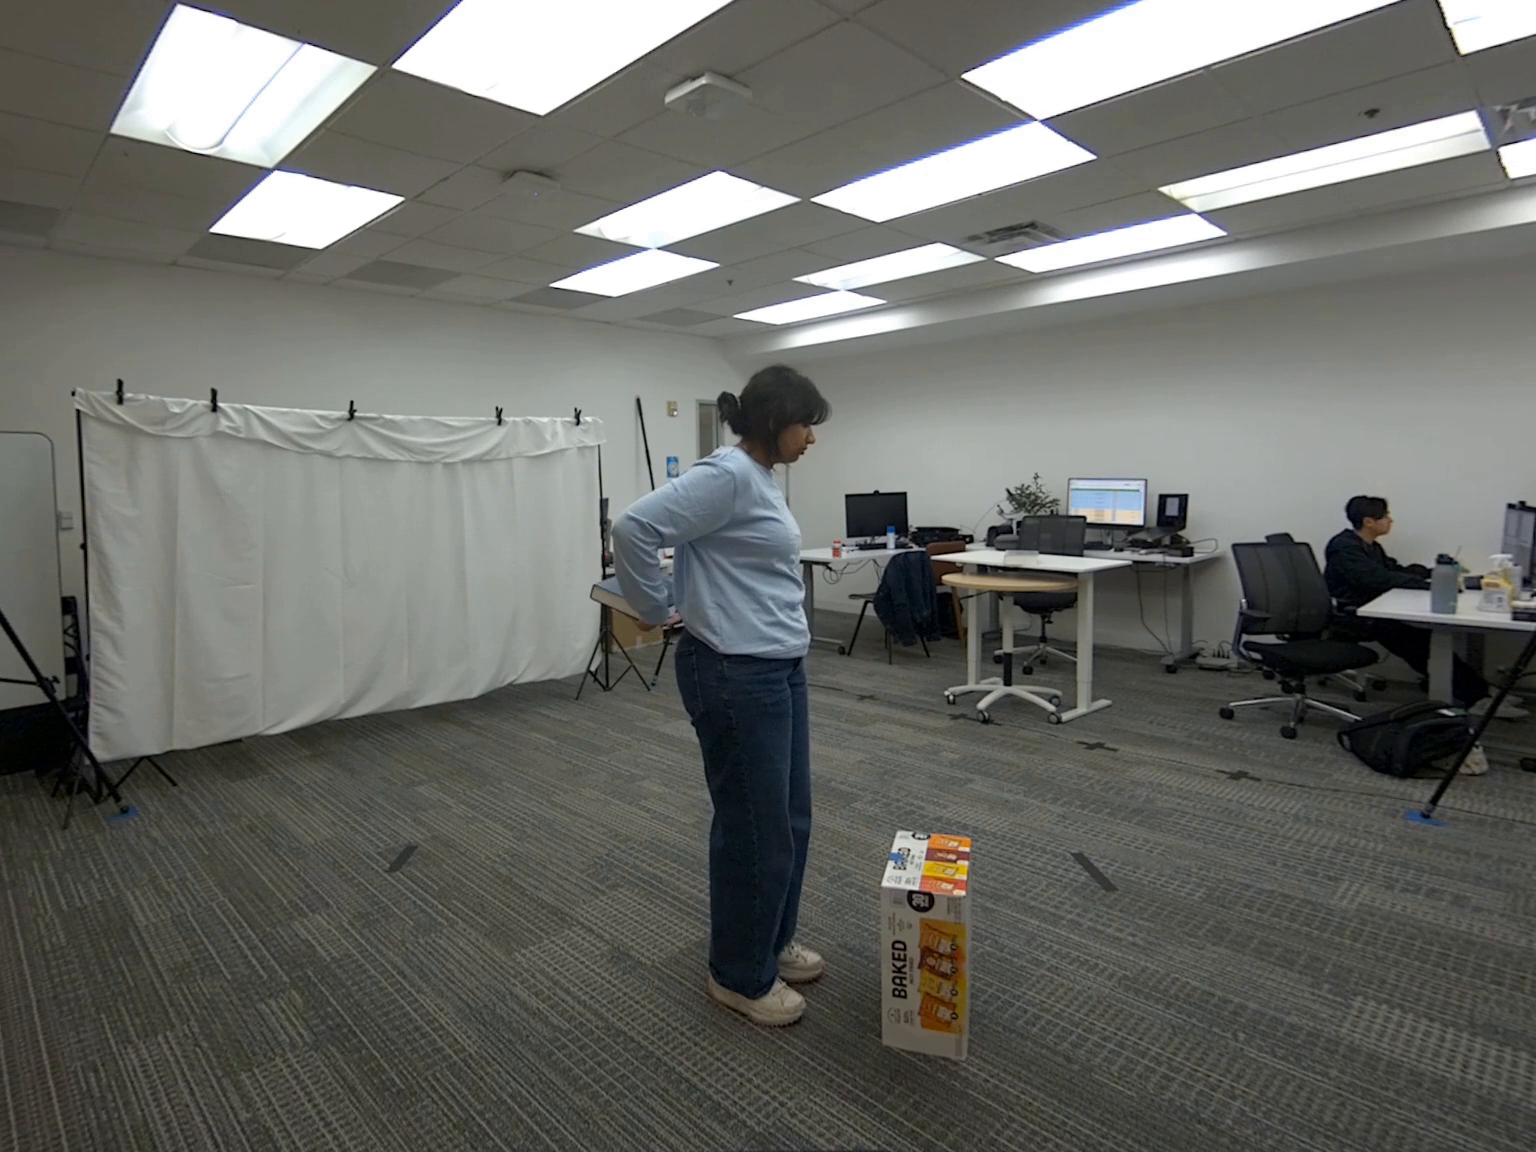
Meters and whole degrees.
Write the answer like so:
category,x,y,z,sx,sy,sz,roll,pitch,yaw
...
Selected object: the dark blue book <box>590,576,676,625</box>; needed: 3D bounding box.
category,x,y,z,sx,sy,sz,roll,pitch,yaw
dark blue book,-0.322,0.047,2.292,0.166,0.045,0.243,19,15,12
